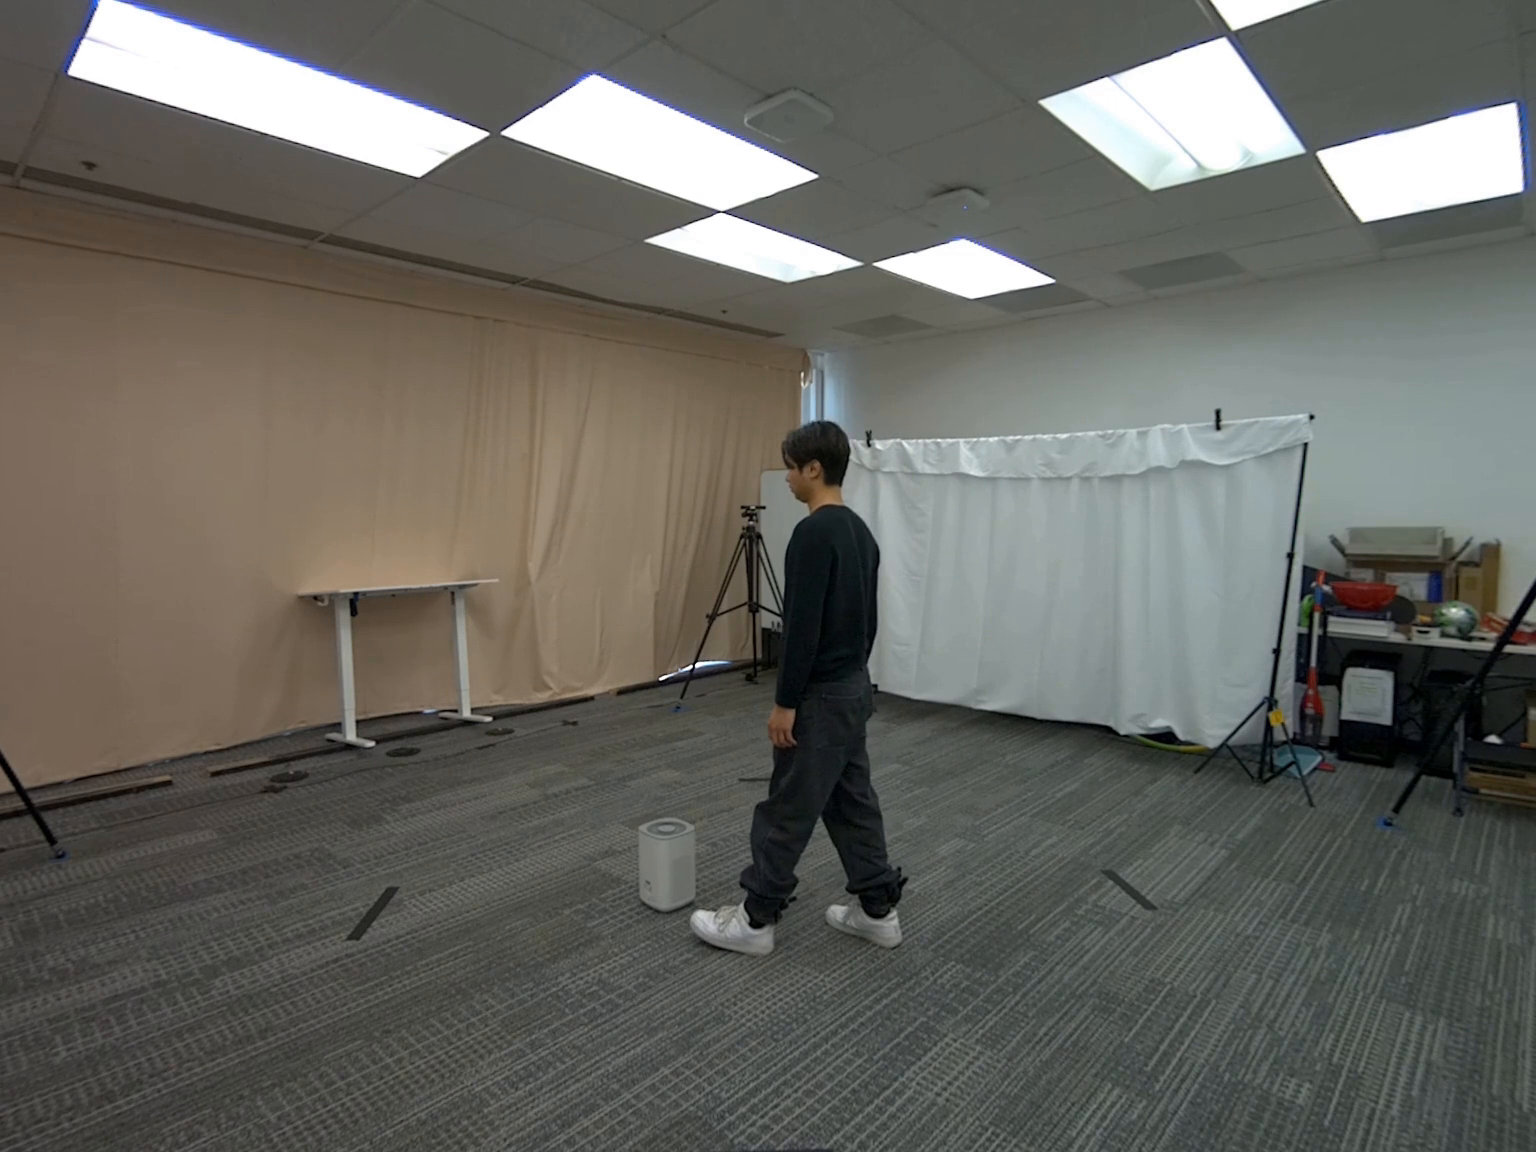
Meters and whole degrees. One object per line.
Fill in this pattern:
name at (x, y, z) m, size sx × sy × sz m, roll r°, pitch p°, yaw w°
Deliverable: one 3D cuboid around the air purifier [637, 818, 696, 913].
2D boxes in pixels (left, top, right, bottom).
air purifier at (-0.354, 1.015, 2.954) m, size 0.177 × 0.265 × 0.166 m, roll 4°, pitch 4°, yaw 44°
